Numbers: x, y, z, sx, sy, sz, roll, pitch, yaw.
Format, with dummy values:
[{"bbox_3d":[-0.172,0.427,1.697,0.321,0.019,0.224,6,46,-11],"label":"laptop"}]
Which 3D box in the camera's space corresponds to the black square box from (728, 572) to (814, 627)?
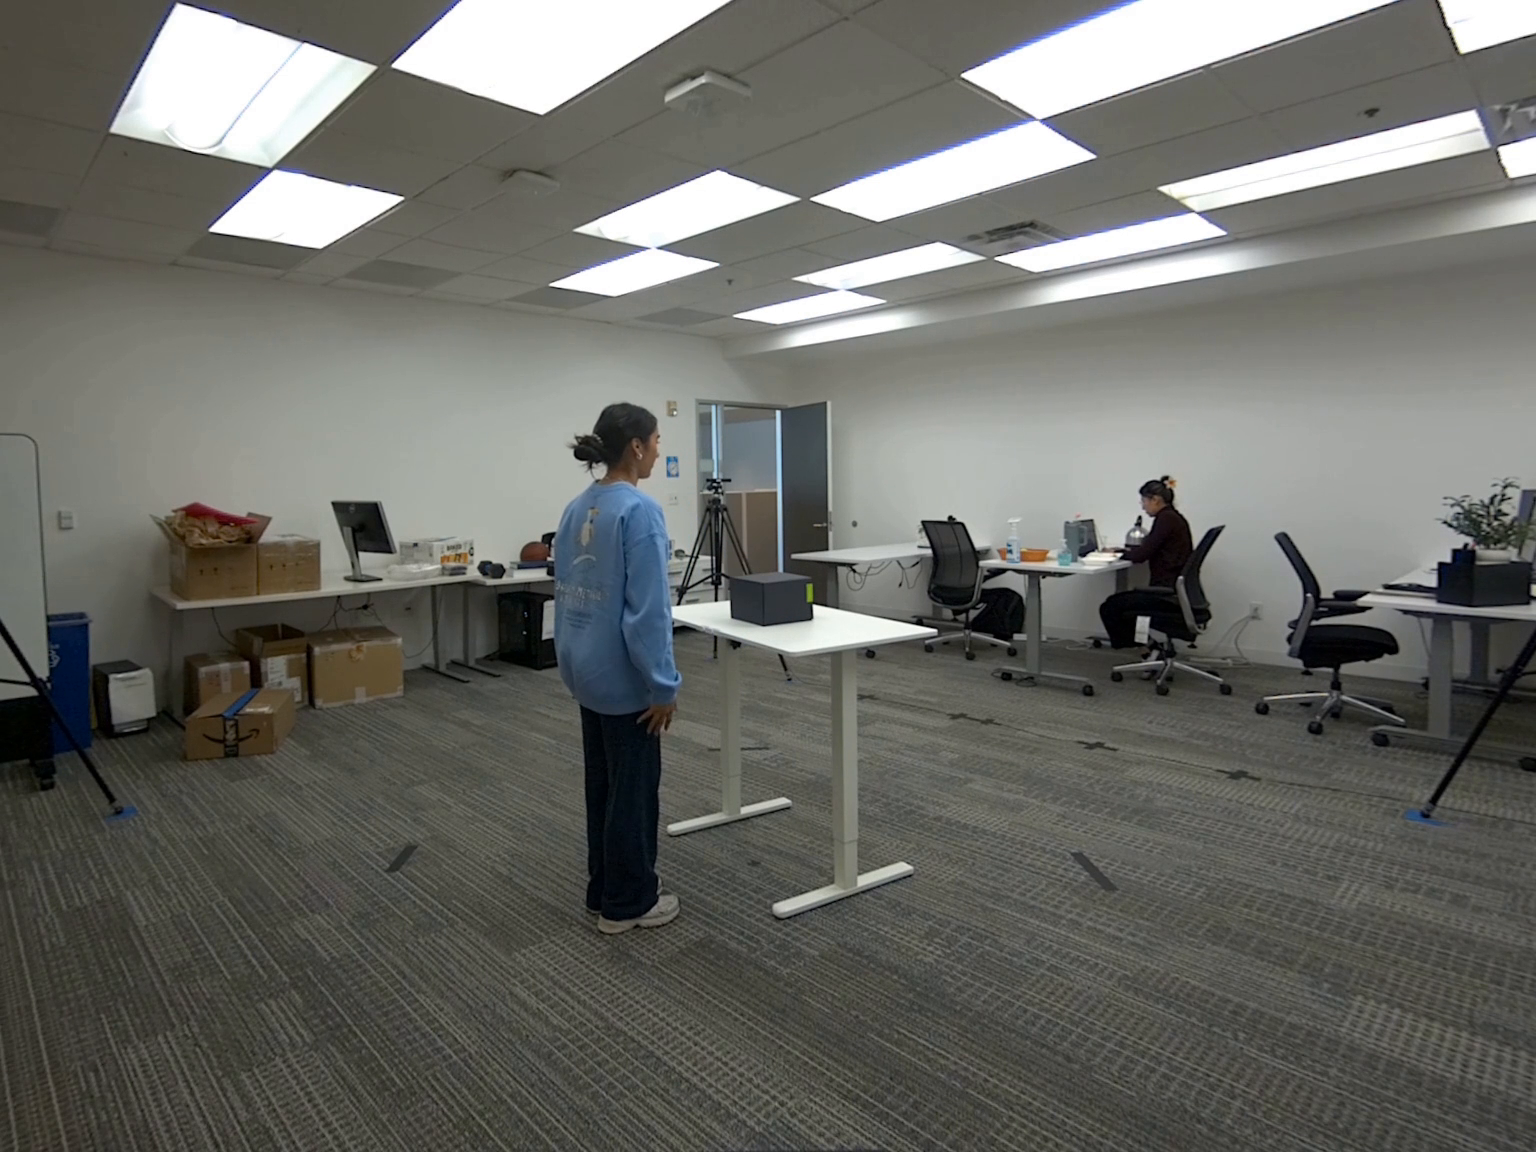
[{"bbox_3d":[0.004,0.082,3.116,0.212,0.155,0.234,-5,7,-32],"label":"black square box"}]
